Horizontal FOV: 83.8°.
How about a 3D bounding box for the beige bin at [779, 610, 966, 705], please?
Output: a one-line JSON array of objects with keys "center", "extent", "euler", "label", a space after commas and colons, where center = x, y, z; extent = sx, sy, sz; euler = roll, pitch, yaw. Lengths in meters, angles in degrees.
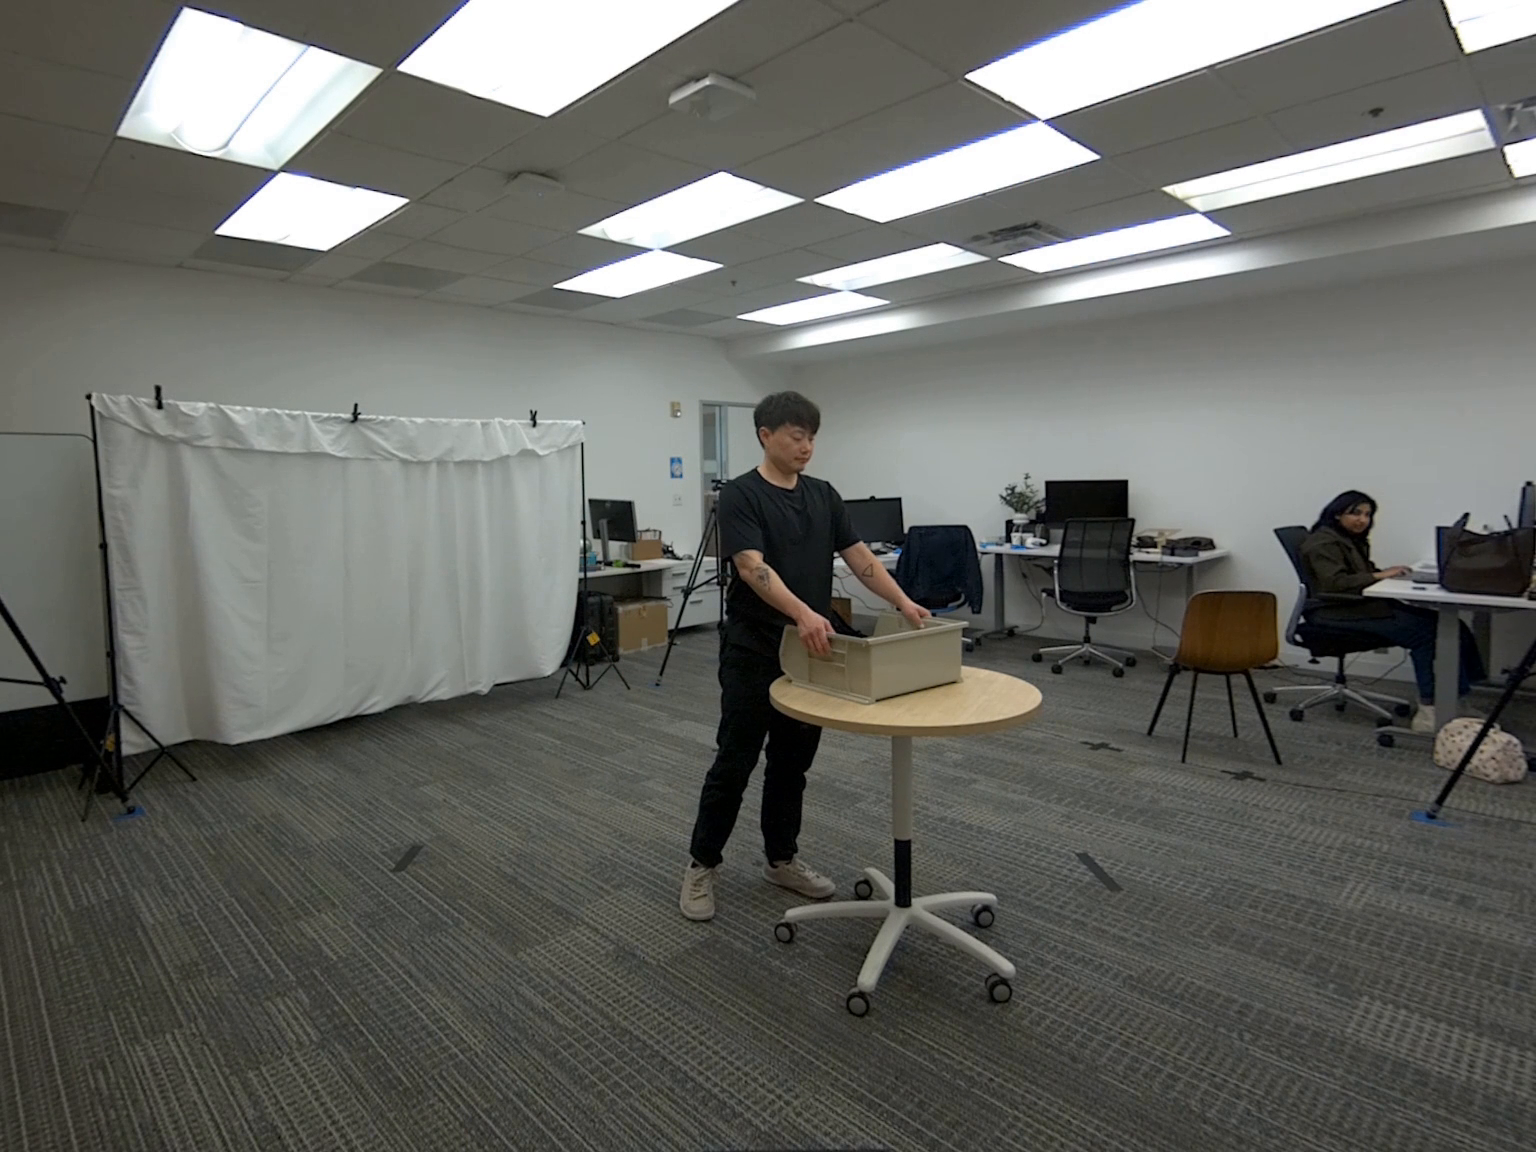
[{"center": [0.310, 0.231, 2.562], "extent": [0.411, 0.188, 0.389], "euler": [-5, 8, -37], "label": "beige bin"}]
